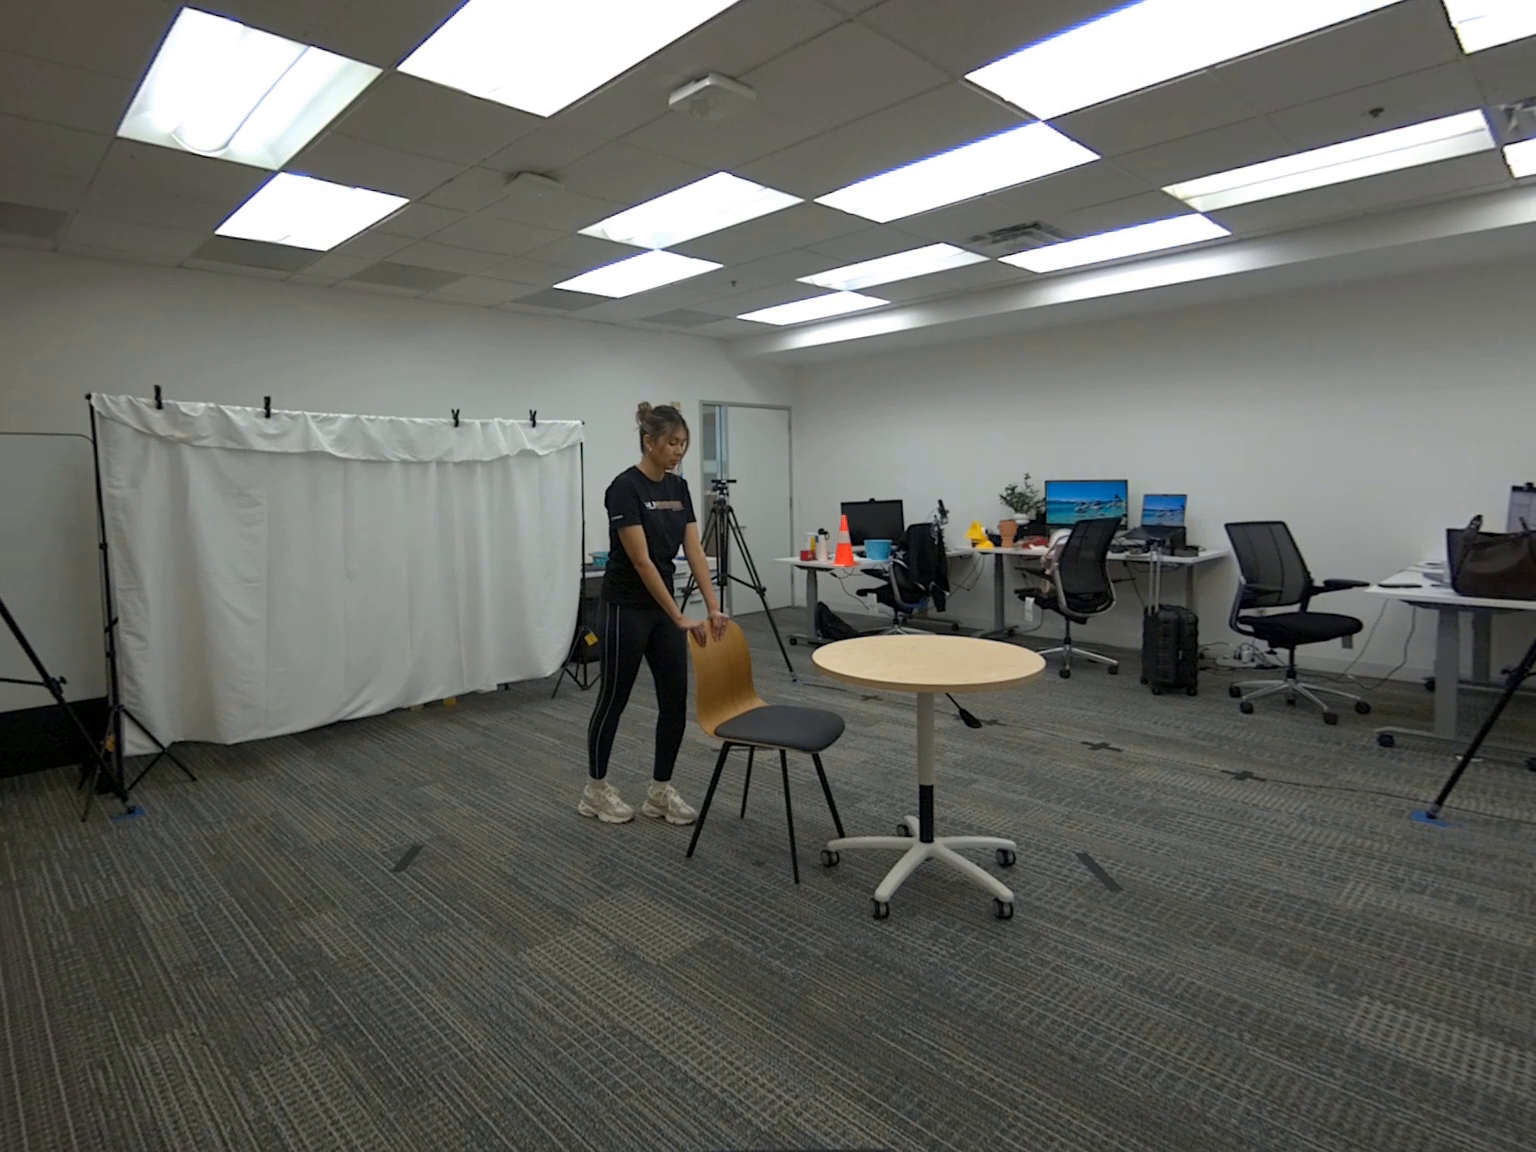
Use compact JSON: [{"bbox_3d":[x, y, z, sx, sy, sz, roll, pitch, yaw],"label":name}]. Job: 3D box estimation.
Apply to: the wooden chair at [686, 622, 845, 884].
[{"bbox_3d":[0.000,0.604,3.211,0.535,0.876,0.468,-3,2,28],"label":"wooden chair"}]
